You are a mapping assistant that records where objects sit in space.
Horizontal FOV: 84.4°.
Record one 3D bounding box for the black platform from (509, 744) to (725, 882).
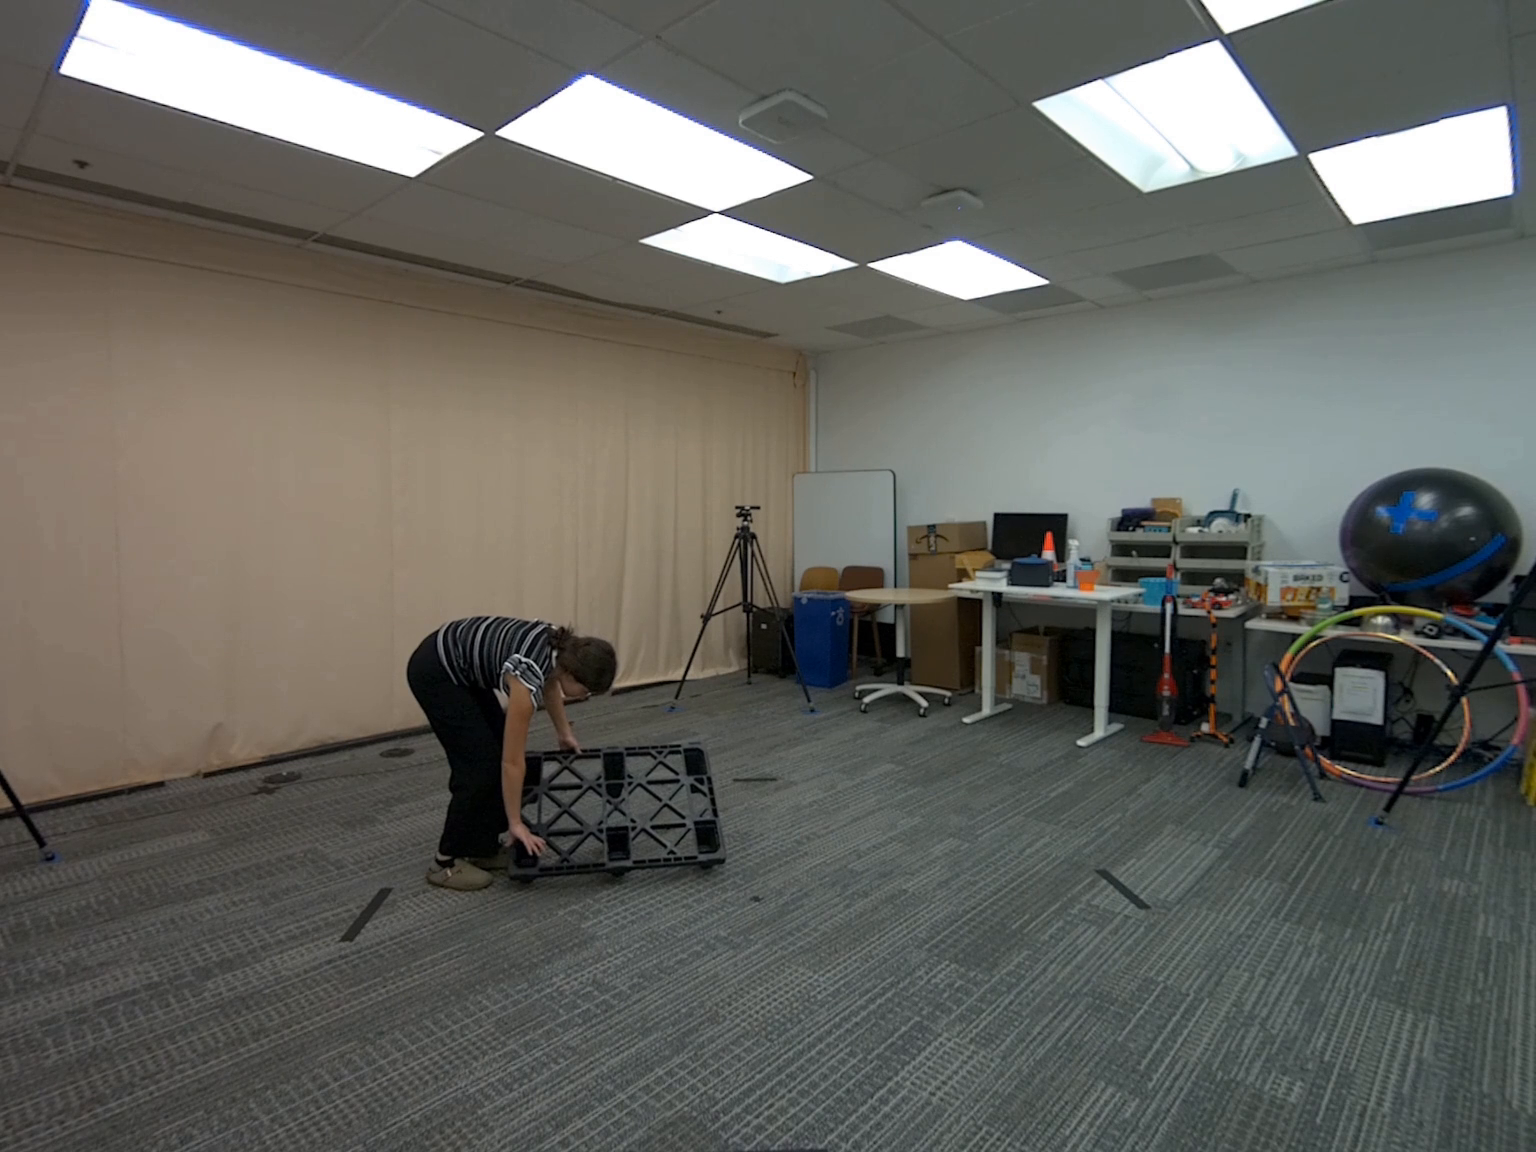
[{"bbox_3d":[-0.609,0.946,3.352,0.797,0.141,0.620,-1,33,-10],"label":"black platform"}]
